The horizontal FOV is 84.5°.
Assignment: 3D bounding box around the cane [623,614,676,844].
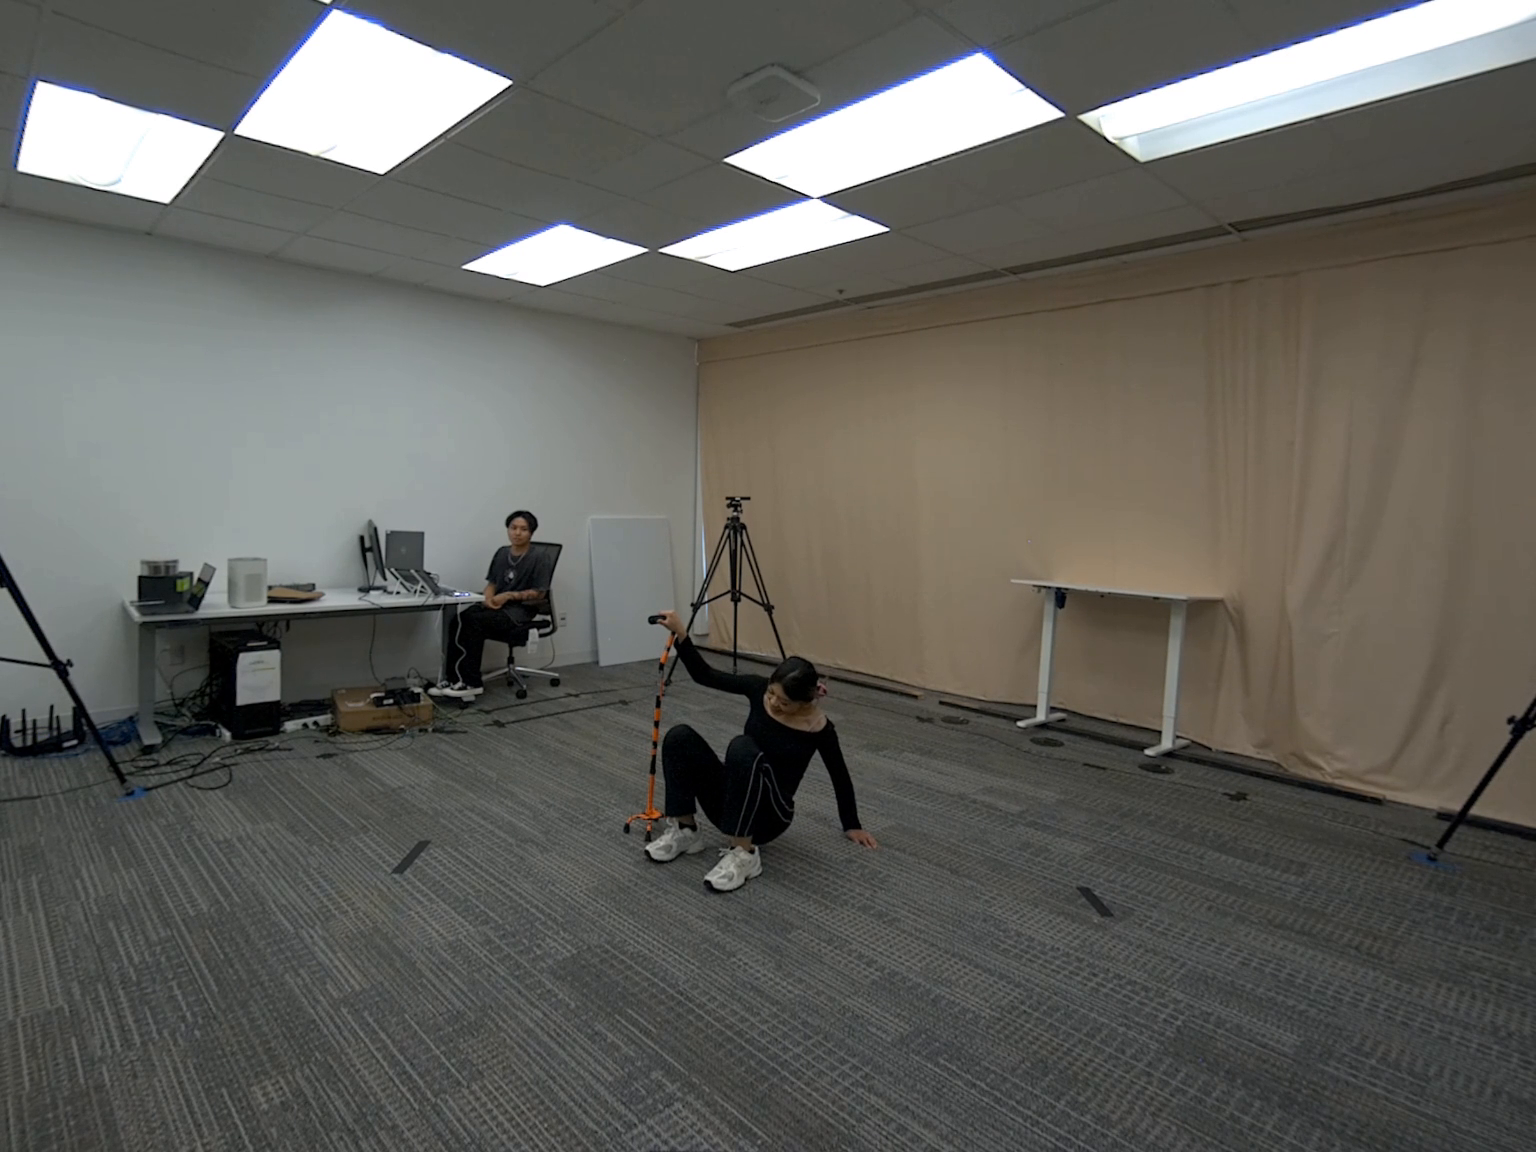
[{"bbox_3d":[-0.453,0.604,3.472,0.155,0.905,0.202,8,6,37],"label":"cane"}]
